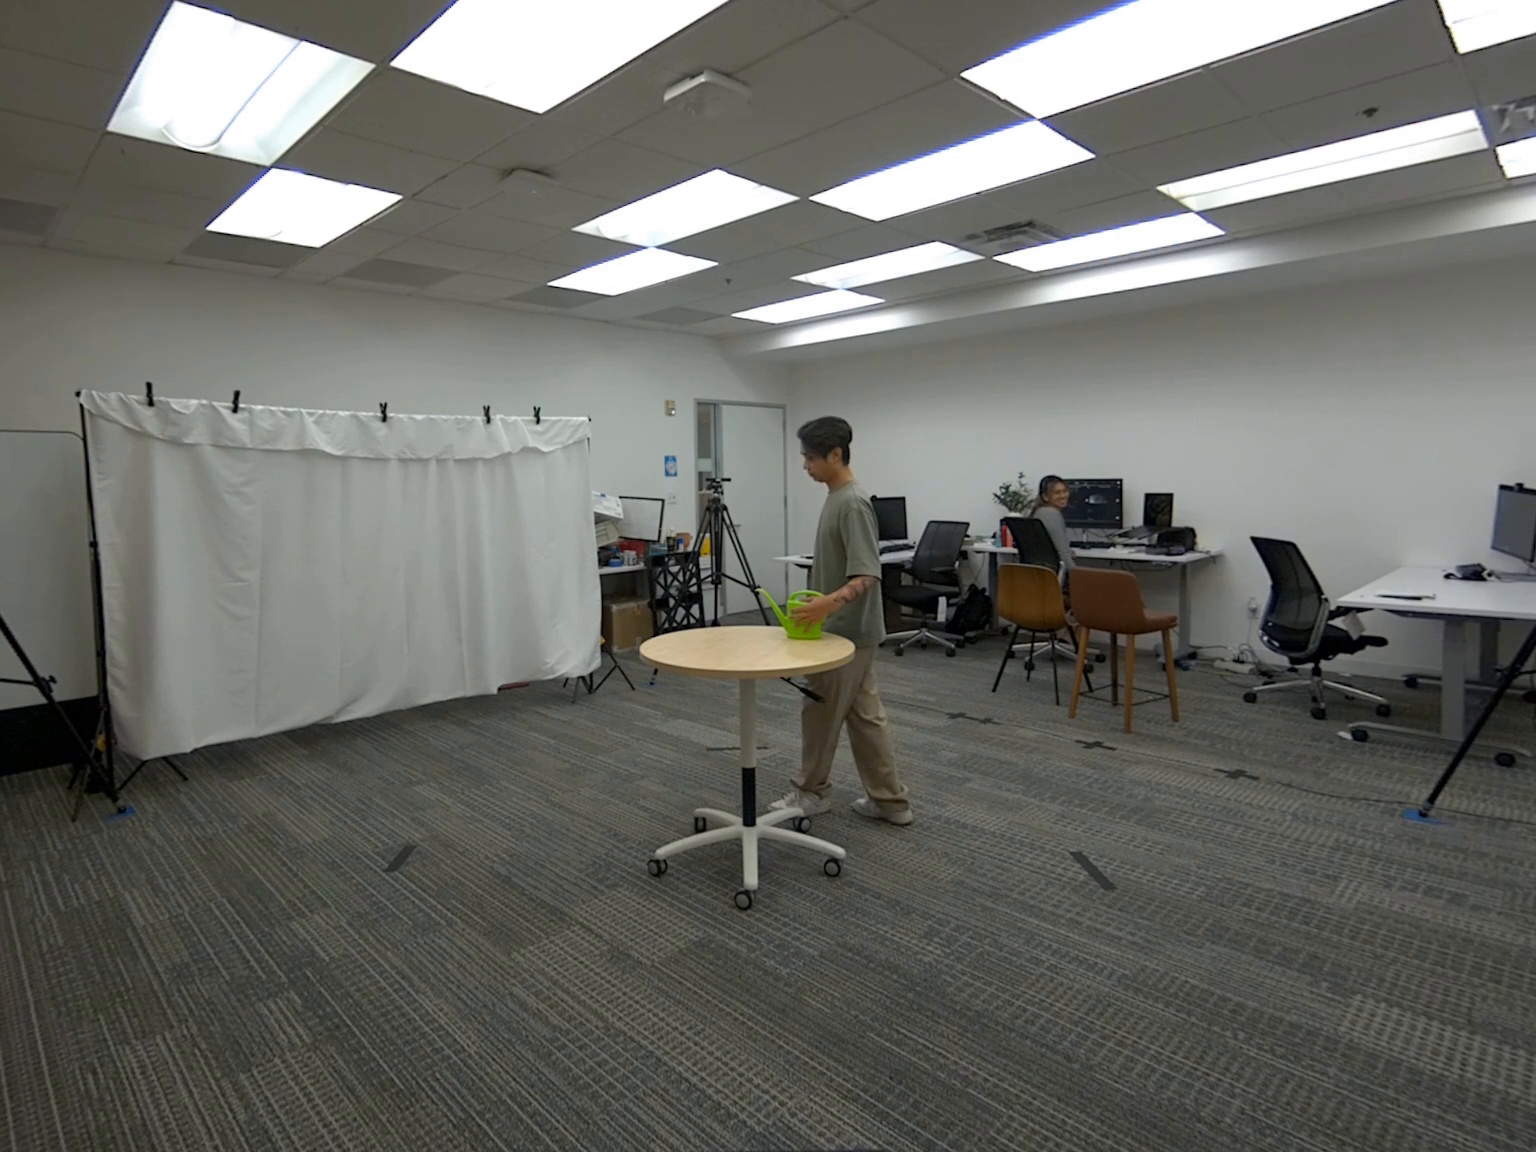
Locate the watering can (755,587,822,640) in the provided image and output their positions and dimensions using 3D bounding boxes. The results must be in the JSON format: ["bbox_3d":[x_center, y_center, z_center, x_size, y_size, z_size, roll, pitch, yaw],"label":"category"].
[{"bbox_3d":[0.101,0.143,3.210,0.286,0.176,0.096,5,7,34],"label":"watering can"}]
